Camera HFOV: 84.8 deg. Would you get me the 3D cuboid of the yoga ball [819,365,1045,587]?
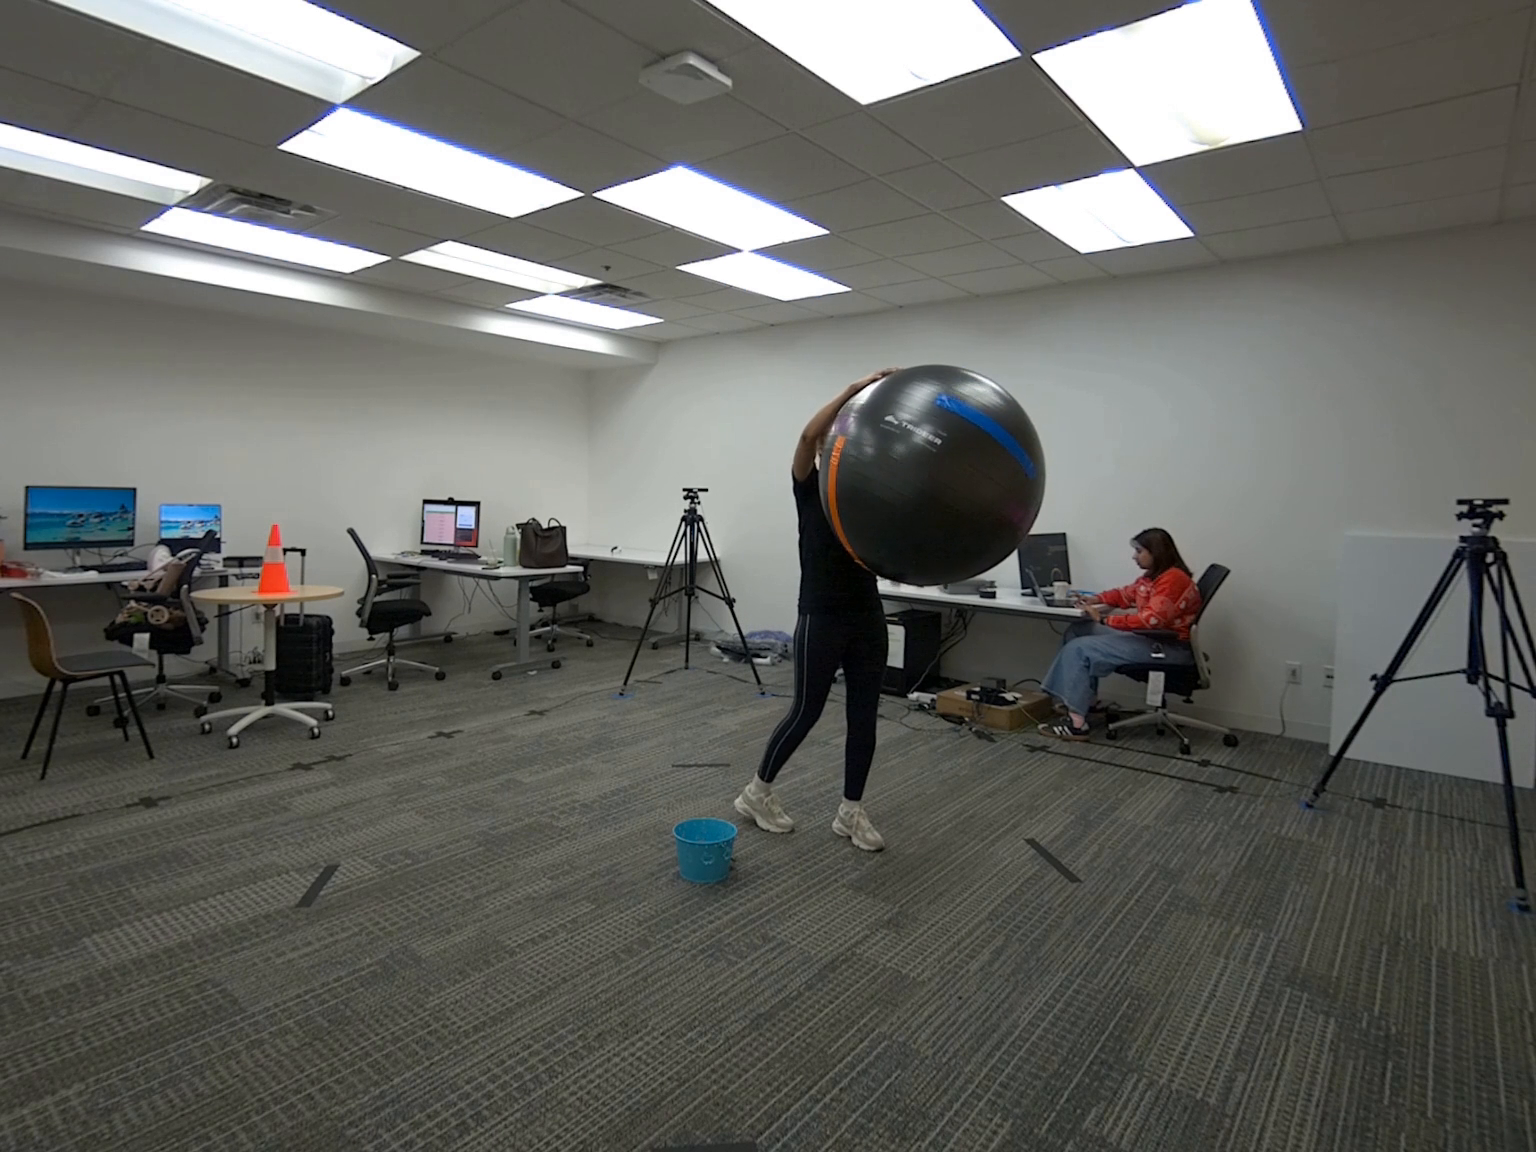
[{"bbox_3d":[0.541,-0.344,2.933,0.757,0.756,0.761,1,4,-2],"label":"yoga ball"}]
